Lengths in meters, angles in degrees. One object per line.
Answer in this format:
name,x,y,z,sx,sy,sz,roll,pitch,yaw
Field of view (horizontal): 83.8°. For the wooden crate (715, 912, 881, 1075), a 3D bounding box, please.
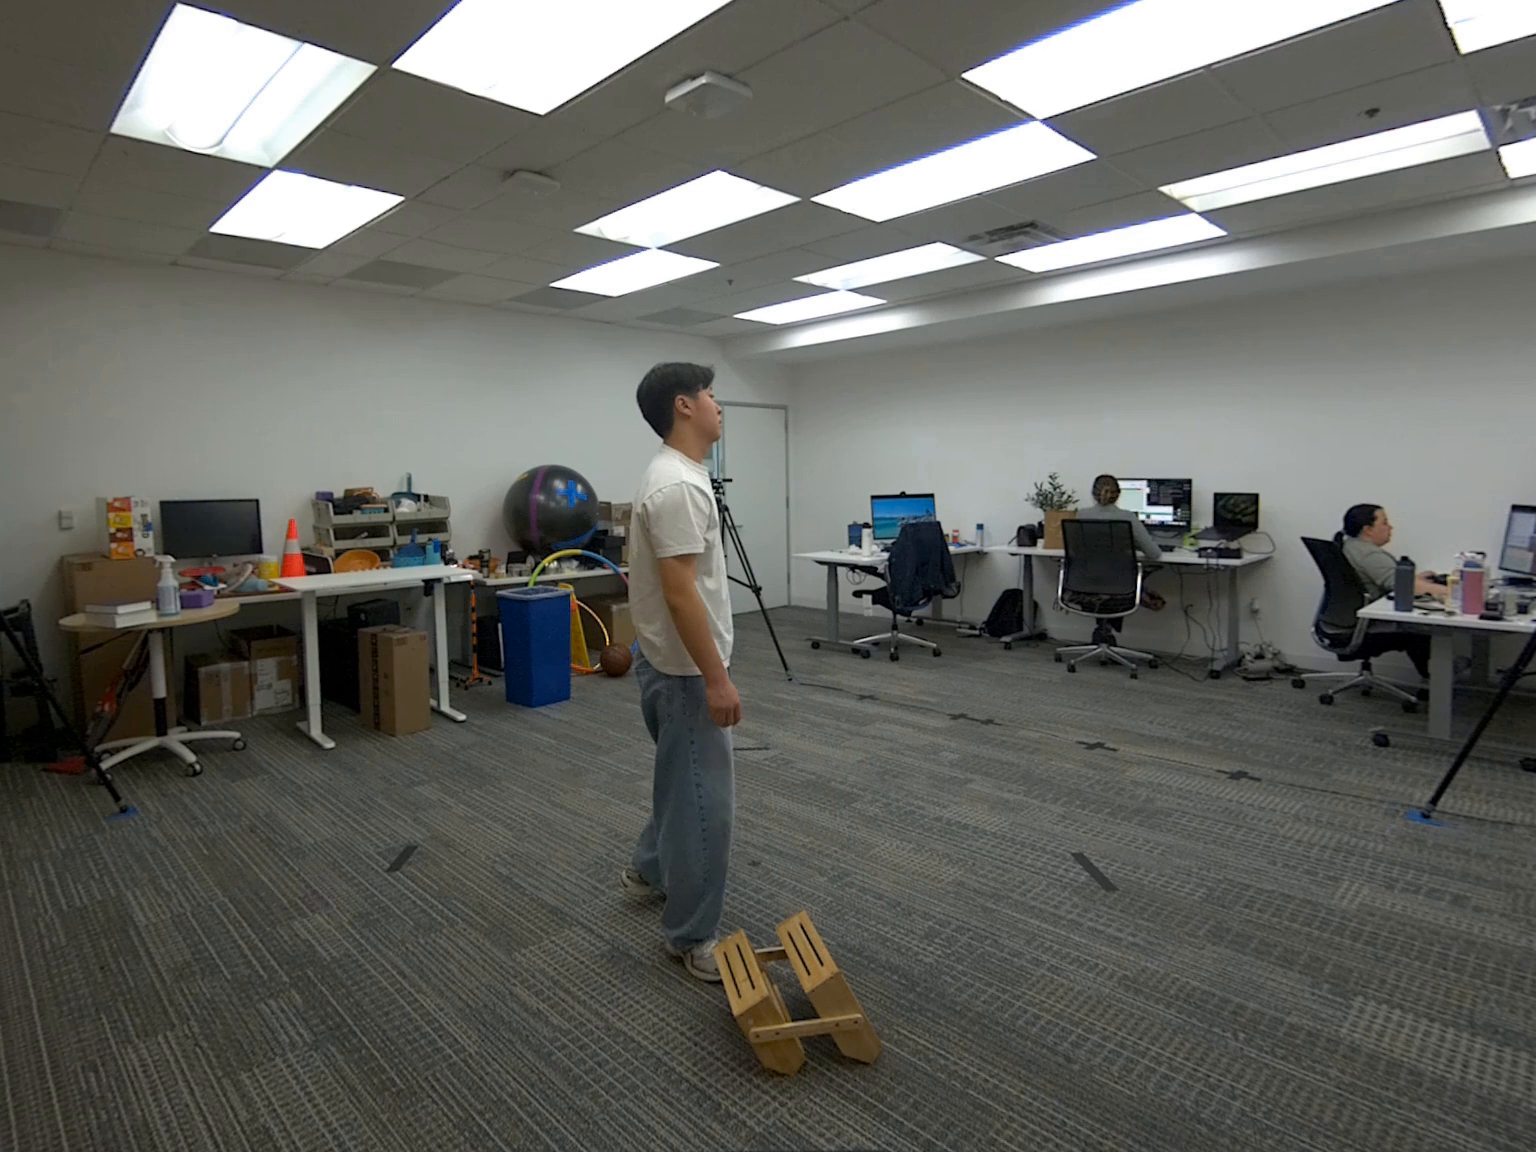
wooden crate,0.076,1.069,2.147,0.272,0.299,0.329,-30,10,-8
